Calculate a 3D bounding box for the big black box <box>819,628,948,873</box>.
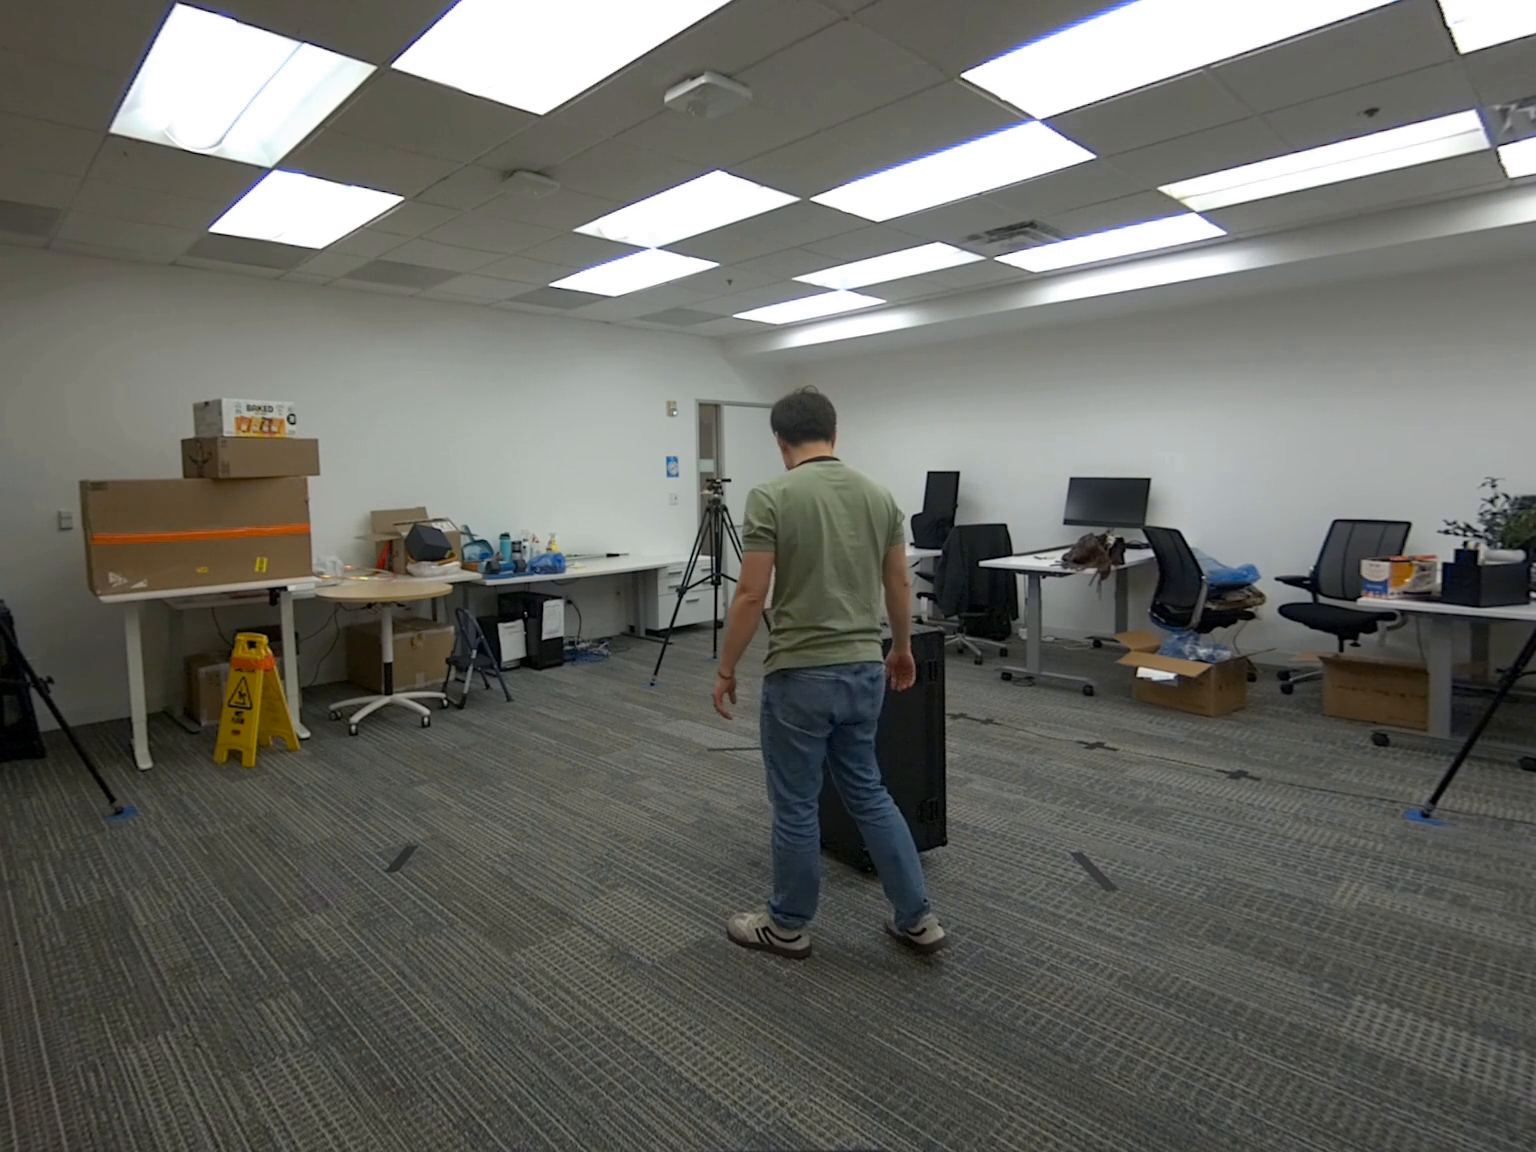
[{"bbox_3d":[0.359,0.607,3.158,0.387,0.858,0.535,-4,5,-31],"label":"big black box"}]
